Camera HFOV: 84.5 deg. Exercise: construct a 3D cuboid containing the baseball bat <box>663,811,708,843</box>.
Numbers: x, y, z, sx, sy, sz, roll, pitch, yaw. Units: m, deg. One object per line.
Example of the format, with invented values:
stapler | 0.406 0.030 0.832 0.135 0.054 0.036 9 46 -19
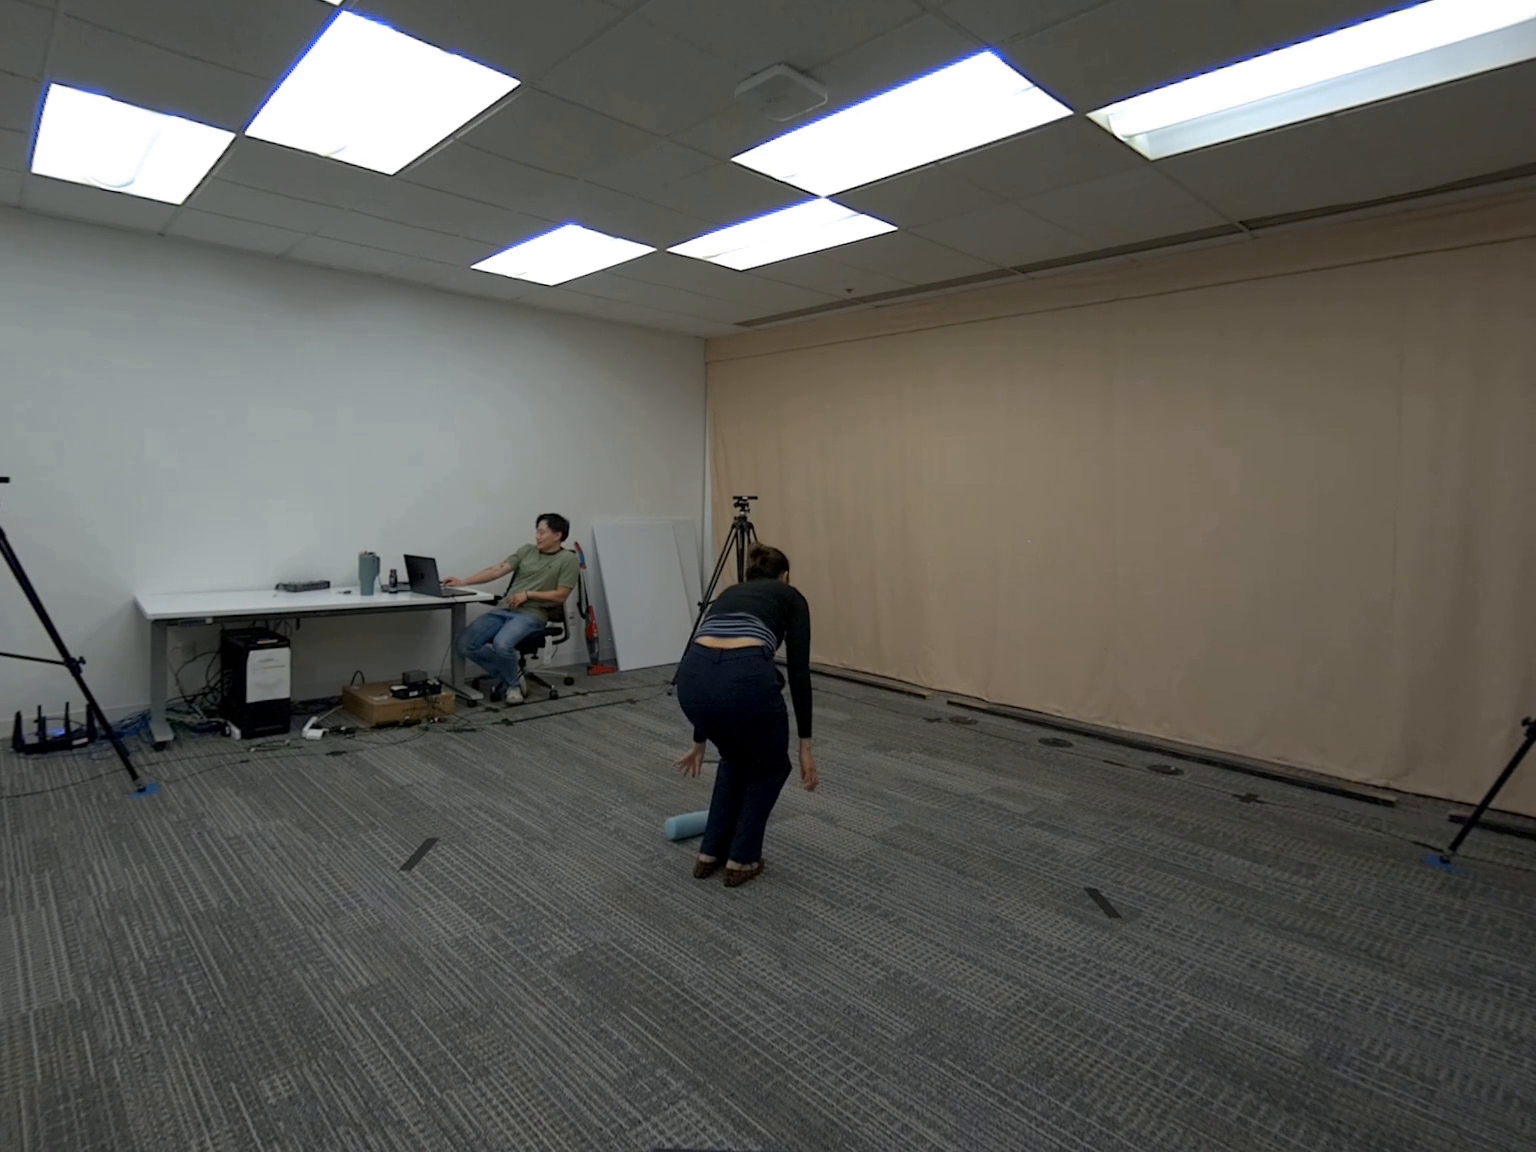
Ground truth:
baseball bat | -0.205 1.025 3.551 0.530 0.089 0.091 1 4 -40
